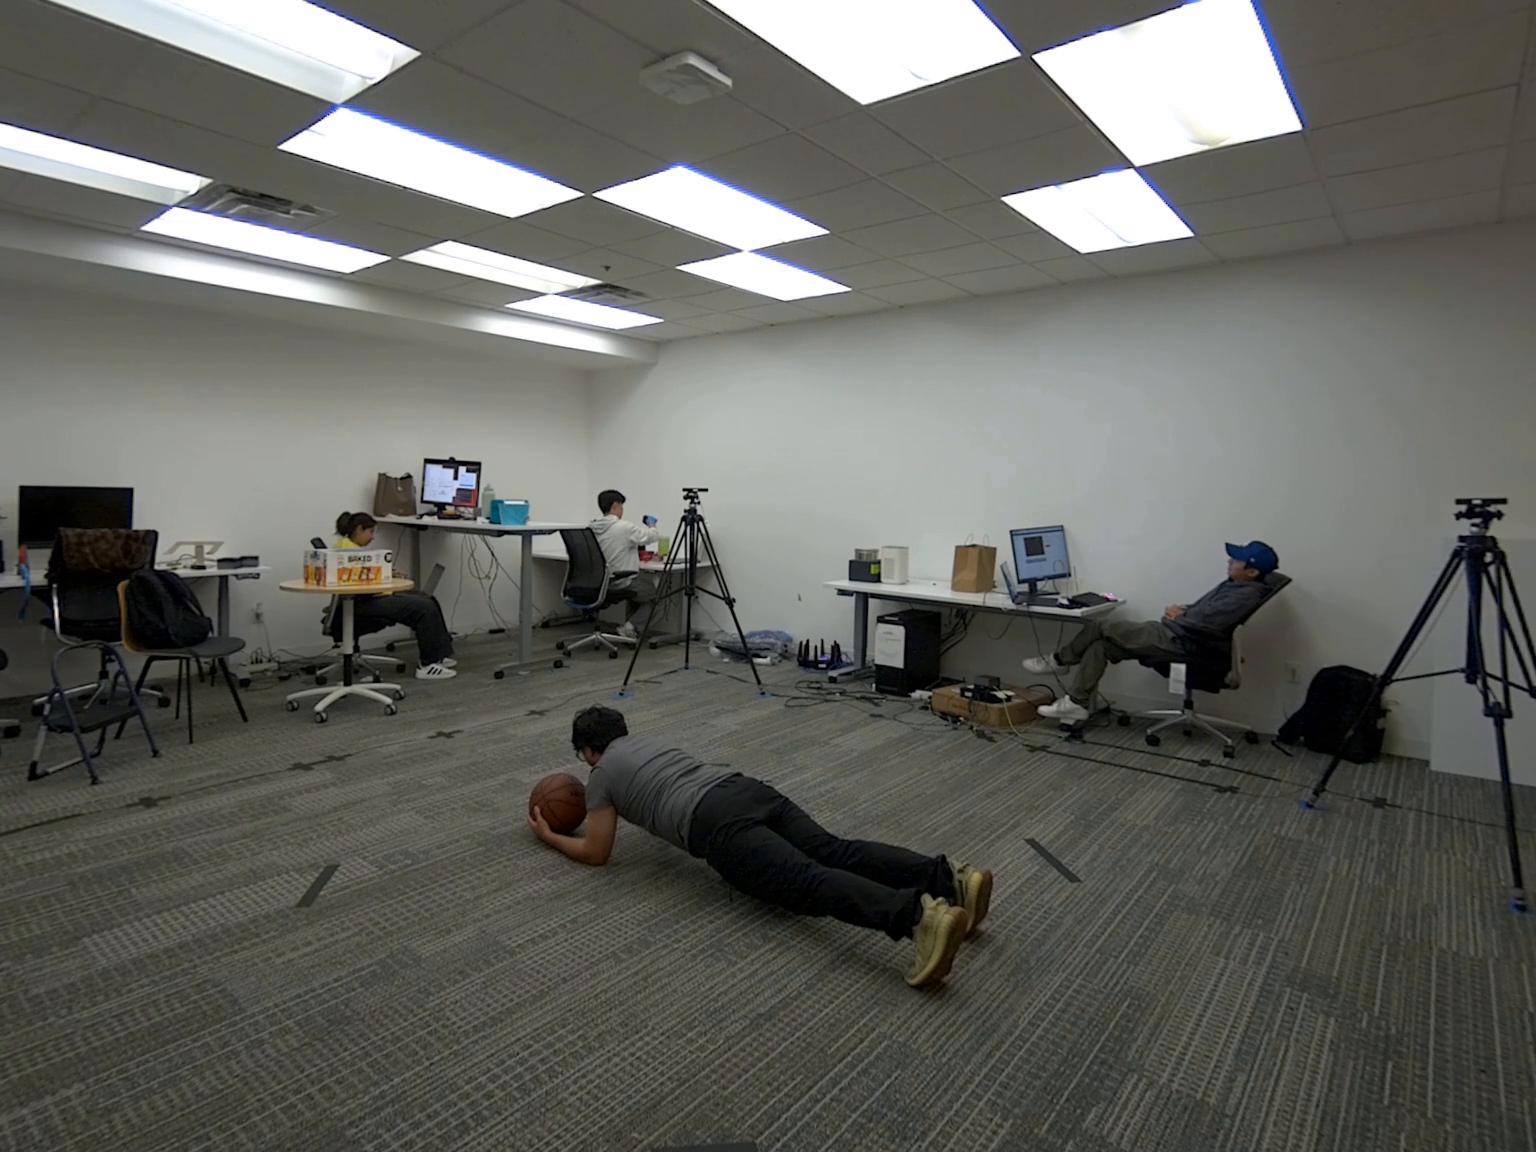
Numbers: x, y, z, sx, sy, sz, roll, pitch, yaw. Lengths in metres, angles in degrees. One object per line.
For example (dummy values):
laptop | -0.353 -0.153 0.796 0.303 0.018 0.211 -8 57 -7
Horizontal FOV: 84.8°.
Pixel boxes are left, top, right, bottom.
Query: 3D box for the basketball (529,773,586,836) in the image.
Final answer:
basketball | -0.849 0.910 3.413 0.235 0.235 0.237 1 4 -2
